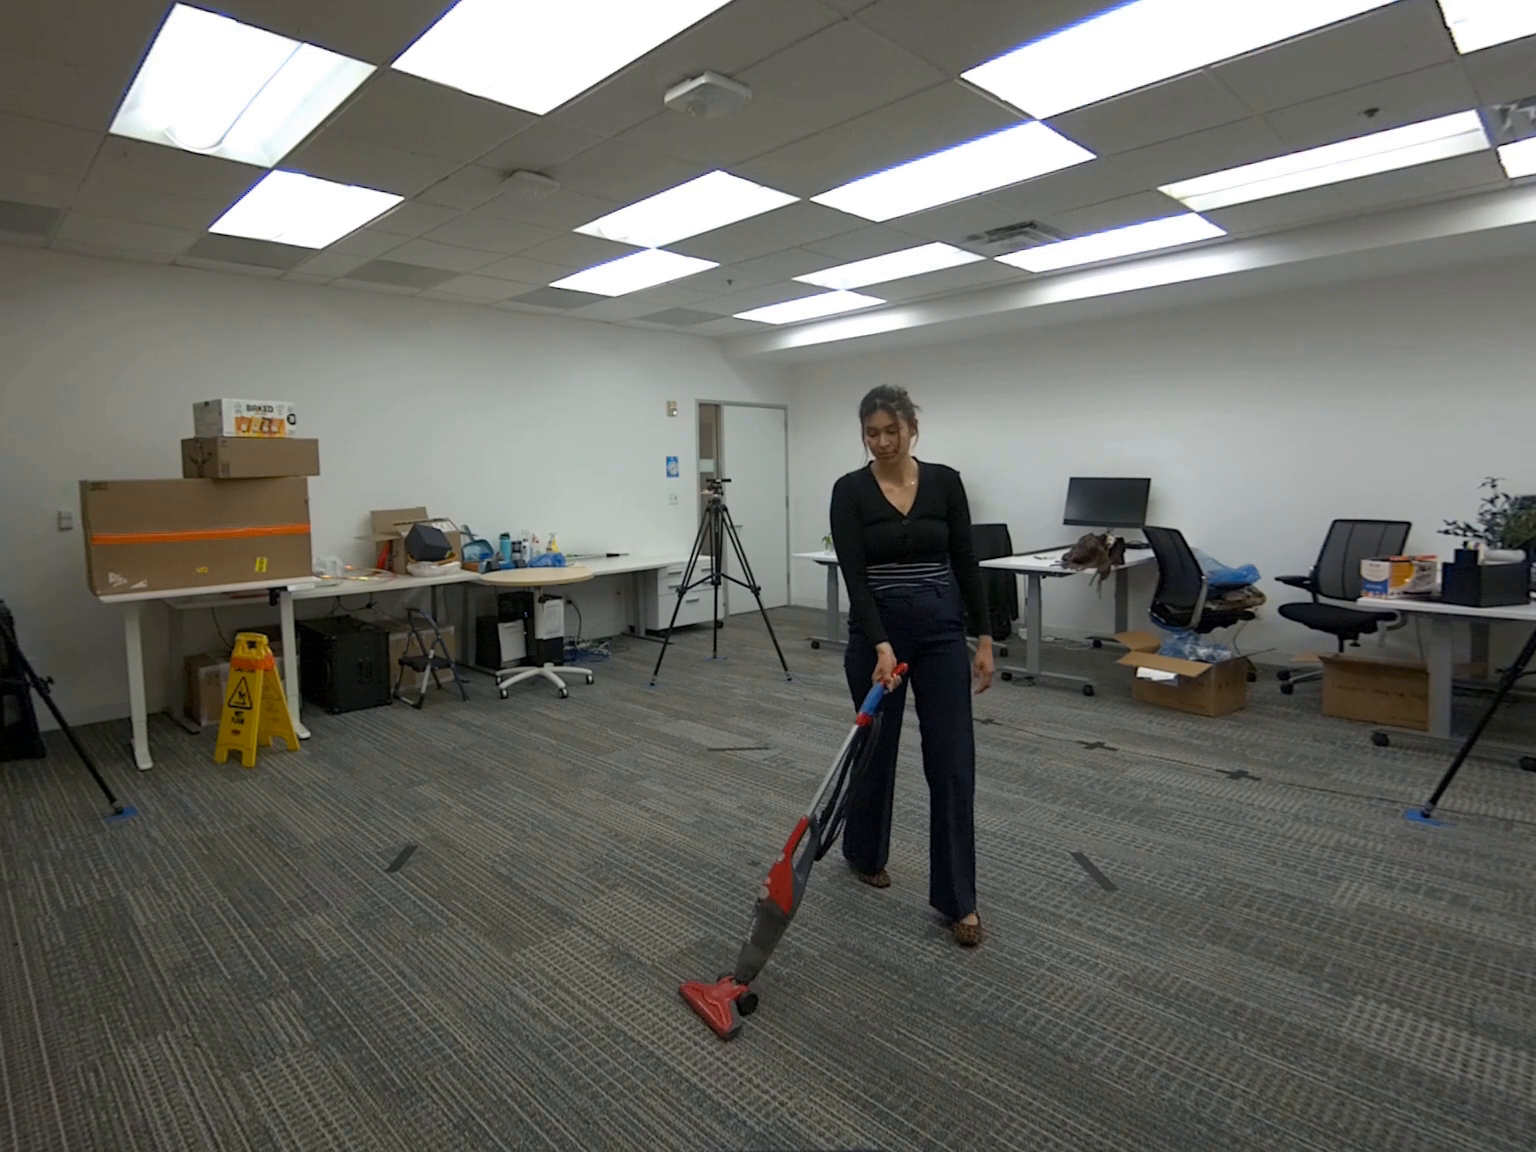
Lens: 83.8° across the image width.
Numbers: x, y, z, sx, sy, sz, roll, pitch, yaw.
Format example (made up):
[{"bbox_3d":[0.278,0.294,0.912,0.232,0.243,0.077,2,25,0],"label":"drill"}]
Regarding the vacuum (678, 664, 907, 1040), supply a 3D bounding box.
[{"bbox_3d":[0.142,0.718,2.418,0.261,1.054,0.138,11,-28,47],"label":"vacuum"}]
